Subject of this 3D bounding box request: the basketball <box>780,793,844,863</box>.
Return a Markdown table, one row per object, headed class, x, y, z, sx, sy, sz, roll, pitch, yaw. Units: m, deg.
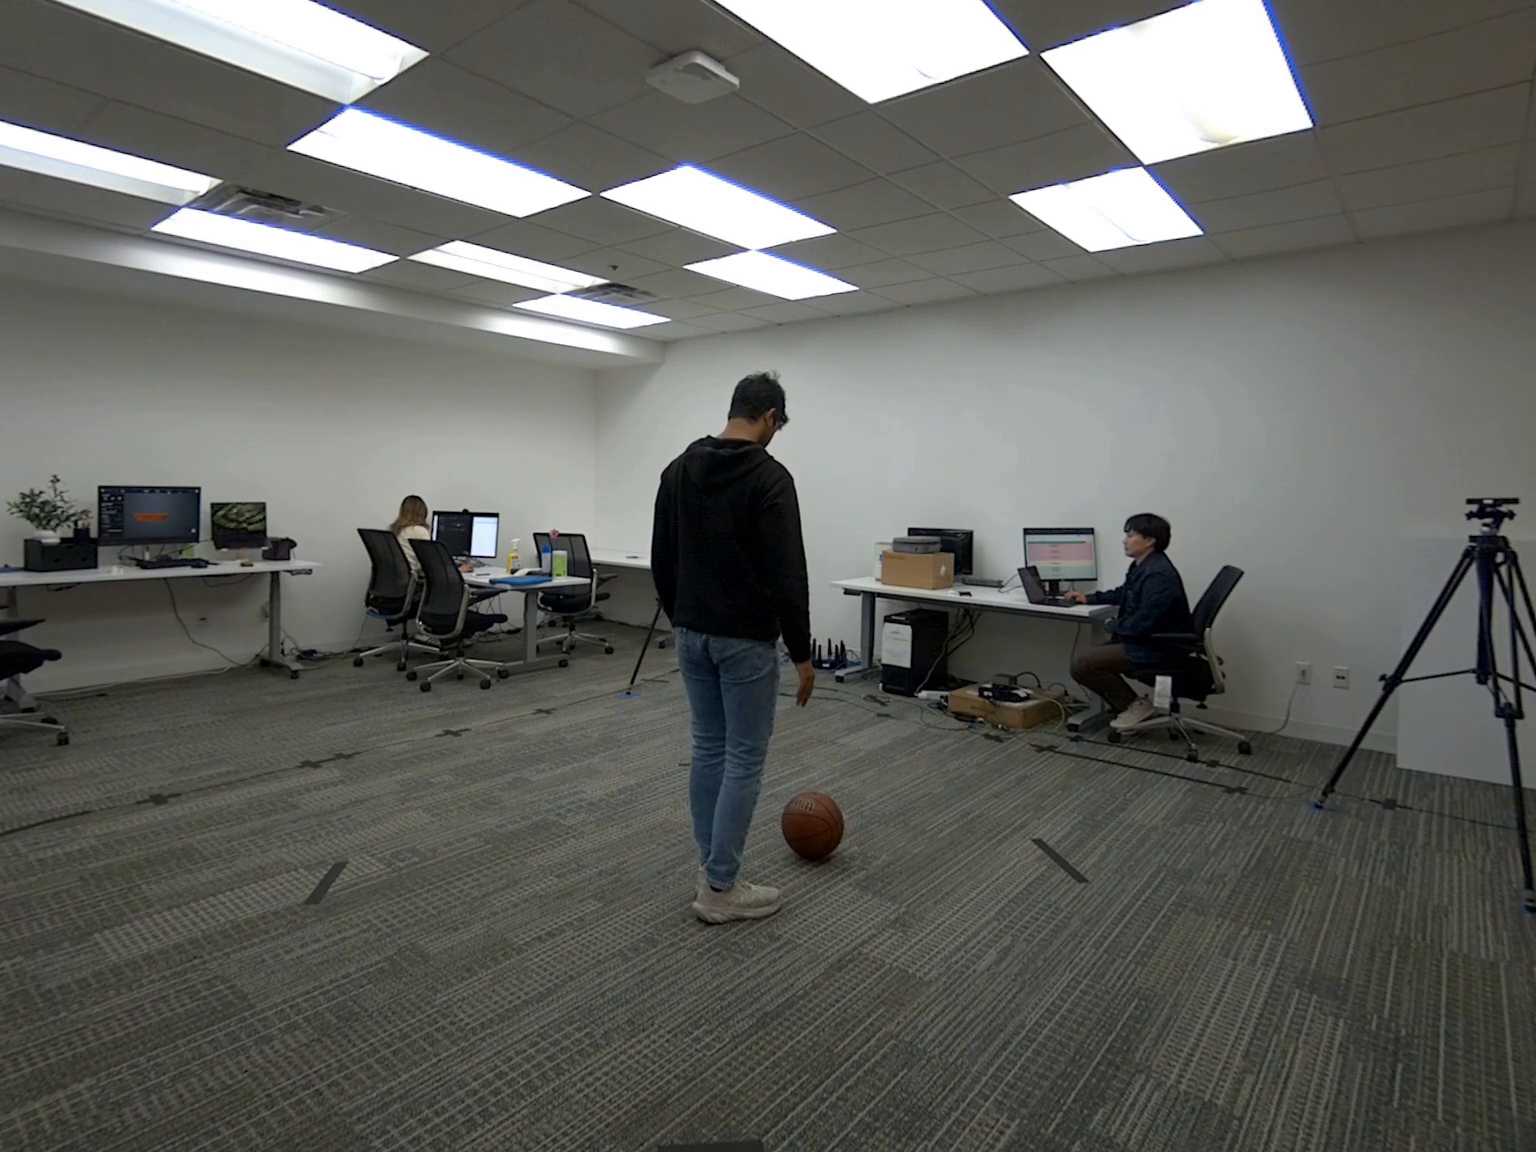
| class | x | y | z | sx | sy | sz | roll | pitch | yaw |
| --- | --- | --- | --- | --- | --- | --- | --- | --- | --- |
| basketball | 0.160 | 0.940 | 3.234 | 0.235 | 0.235 | 0.237 | 1 | 4 | -2 |
